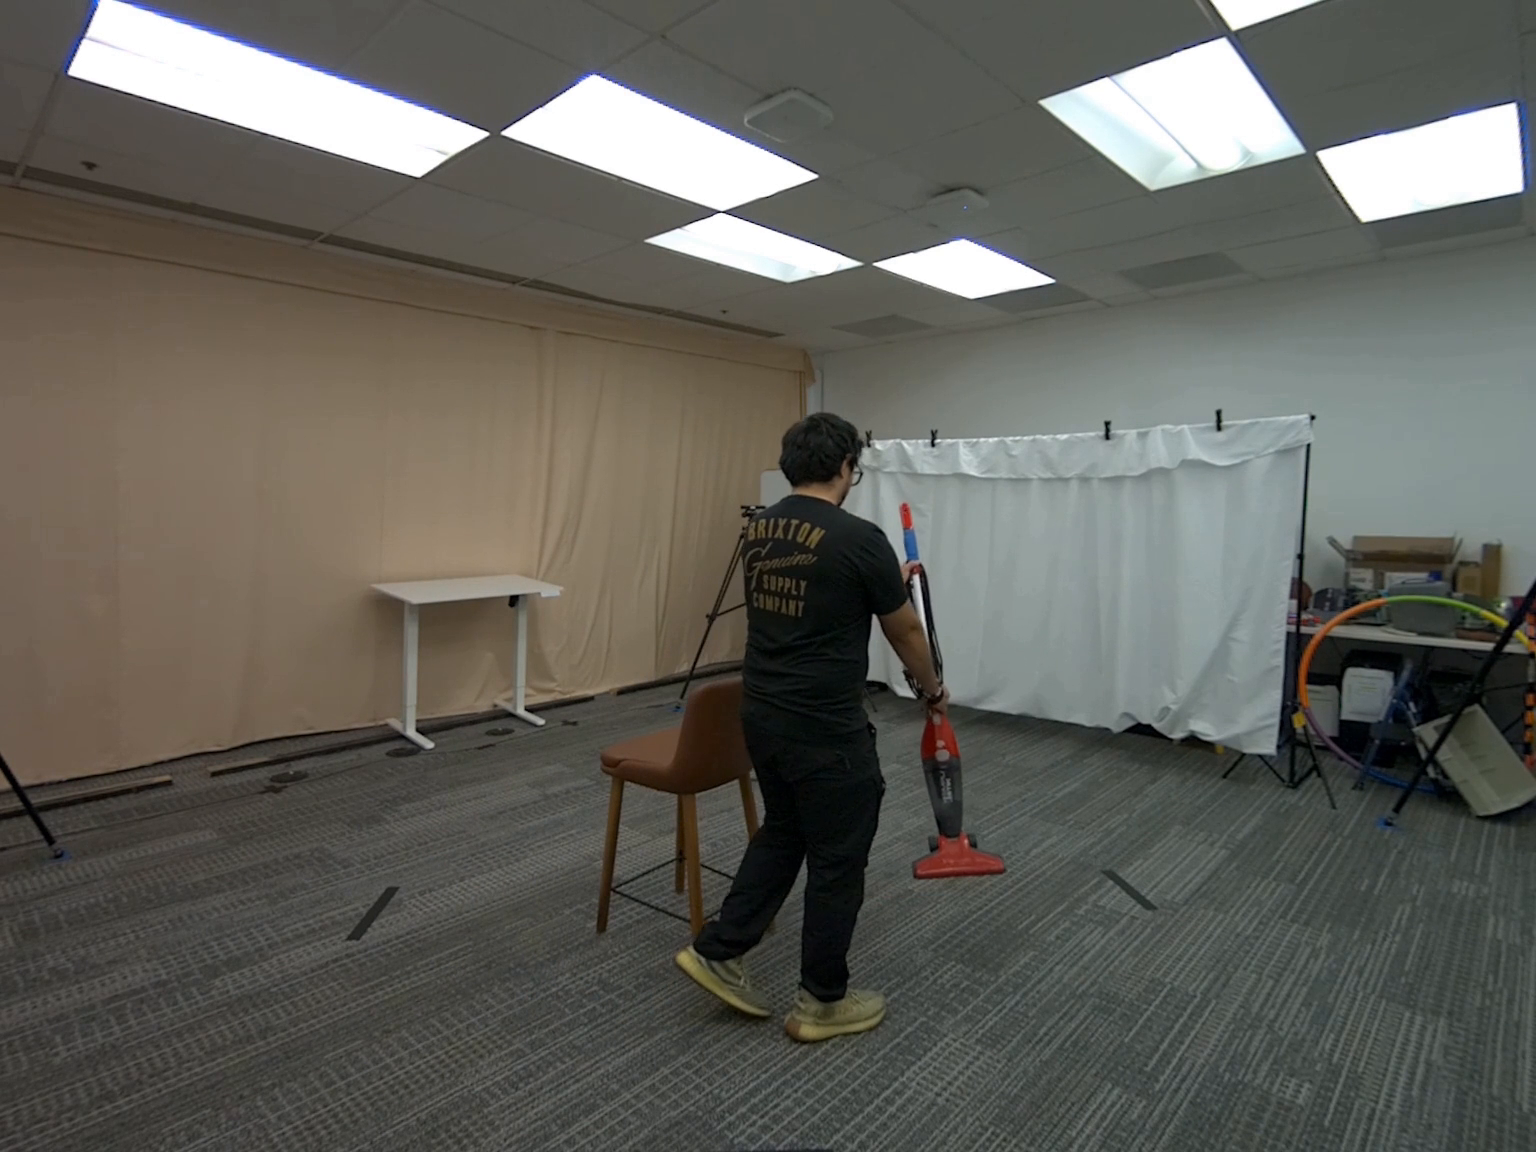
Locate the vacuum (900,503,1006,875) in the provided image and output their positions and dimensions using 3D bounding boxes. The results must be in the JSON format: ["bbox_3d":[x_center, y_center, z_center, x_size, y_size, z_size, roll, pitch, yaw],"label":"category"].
[{"bbox_3d":[0.491,0.292,2.513,0.257,1.059,0.140,-9,-14,18],"label":"vacuum"}]
